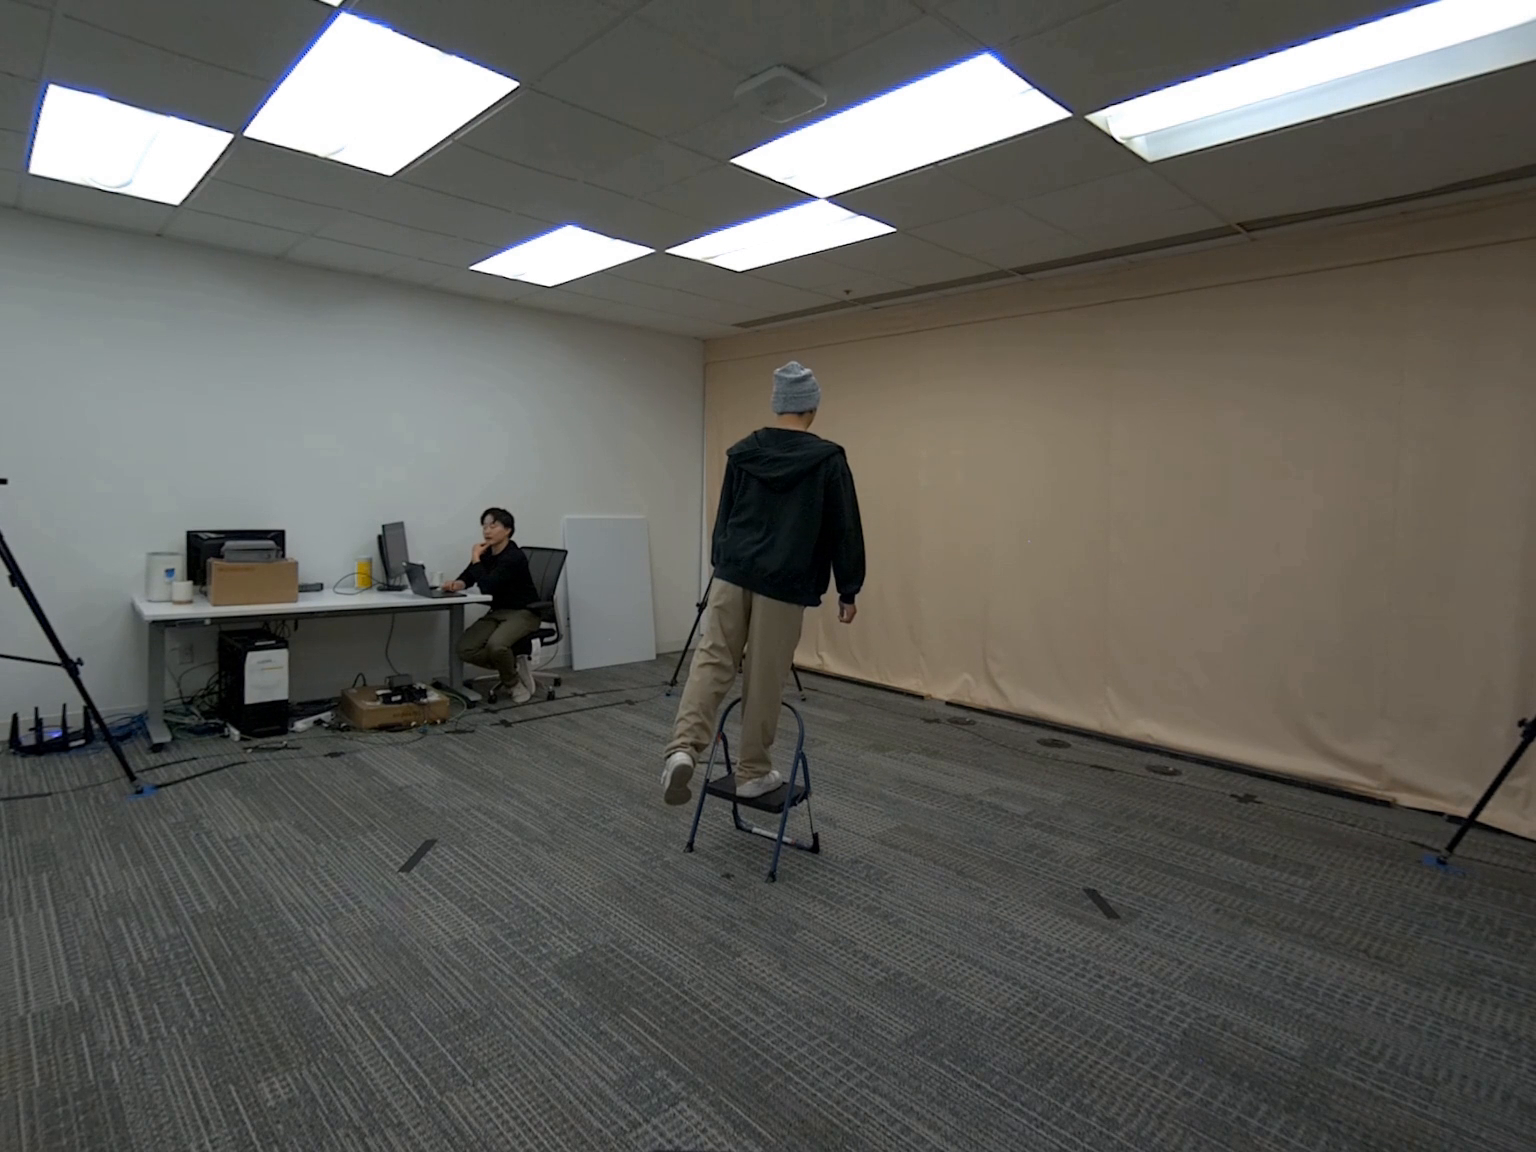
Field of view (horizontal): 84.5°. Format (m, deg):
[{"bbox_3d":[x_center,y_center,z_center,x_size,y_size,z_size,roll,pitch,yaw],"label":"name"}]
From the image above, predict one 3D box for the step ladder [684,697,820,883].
[{"bbox_3d":[-0.057,0.790,3.308,0.441,0.605,0.341,4,4,36],"label":"step ladder"}]
